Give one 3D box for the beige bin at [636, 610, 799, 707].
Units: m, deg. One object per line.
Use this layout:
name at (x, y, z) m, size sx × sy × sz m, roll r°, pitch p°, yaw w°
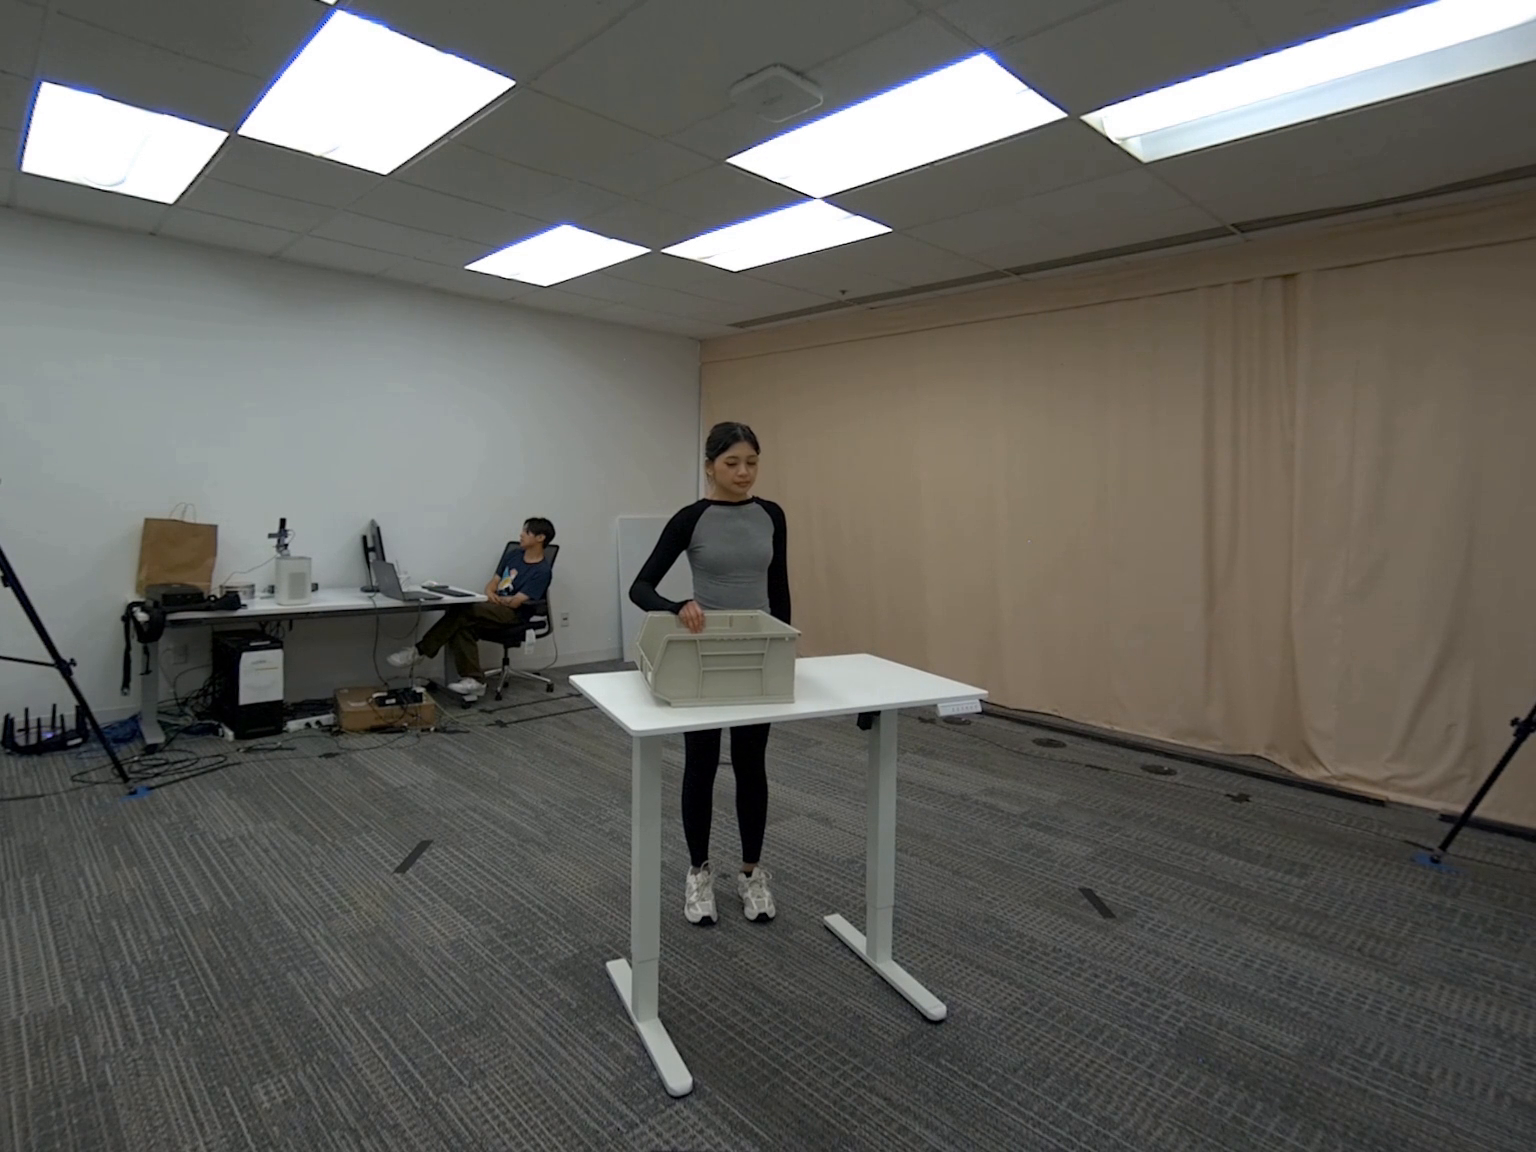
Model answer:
beige bin at (-0.170, 0.218, 2.269) m, size 0.374 × 0.188 × 0.427 m, roll 2°, pitch 4°, yaw -11°
